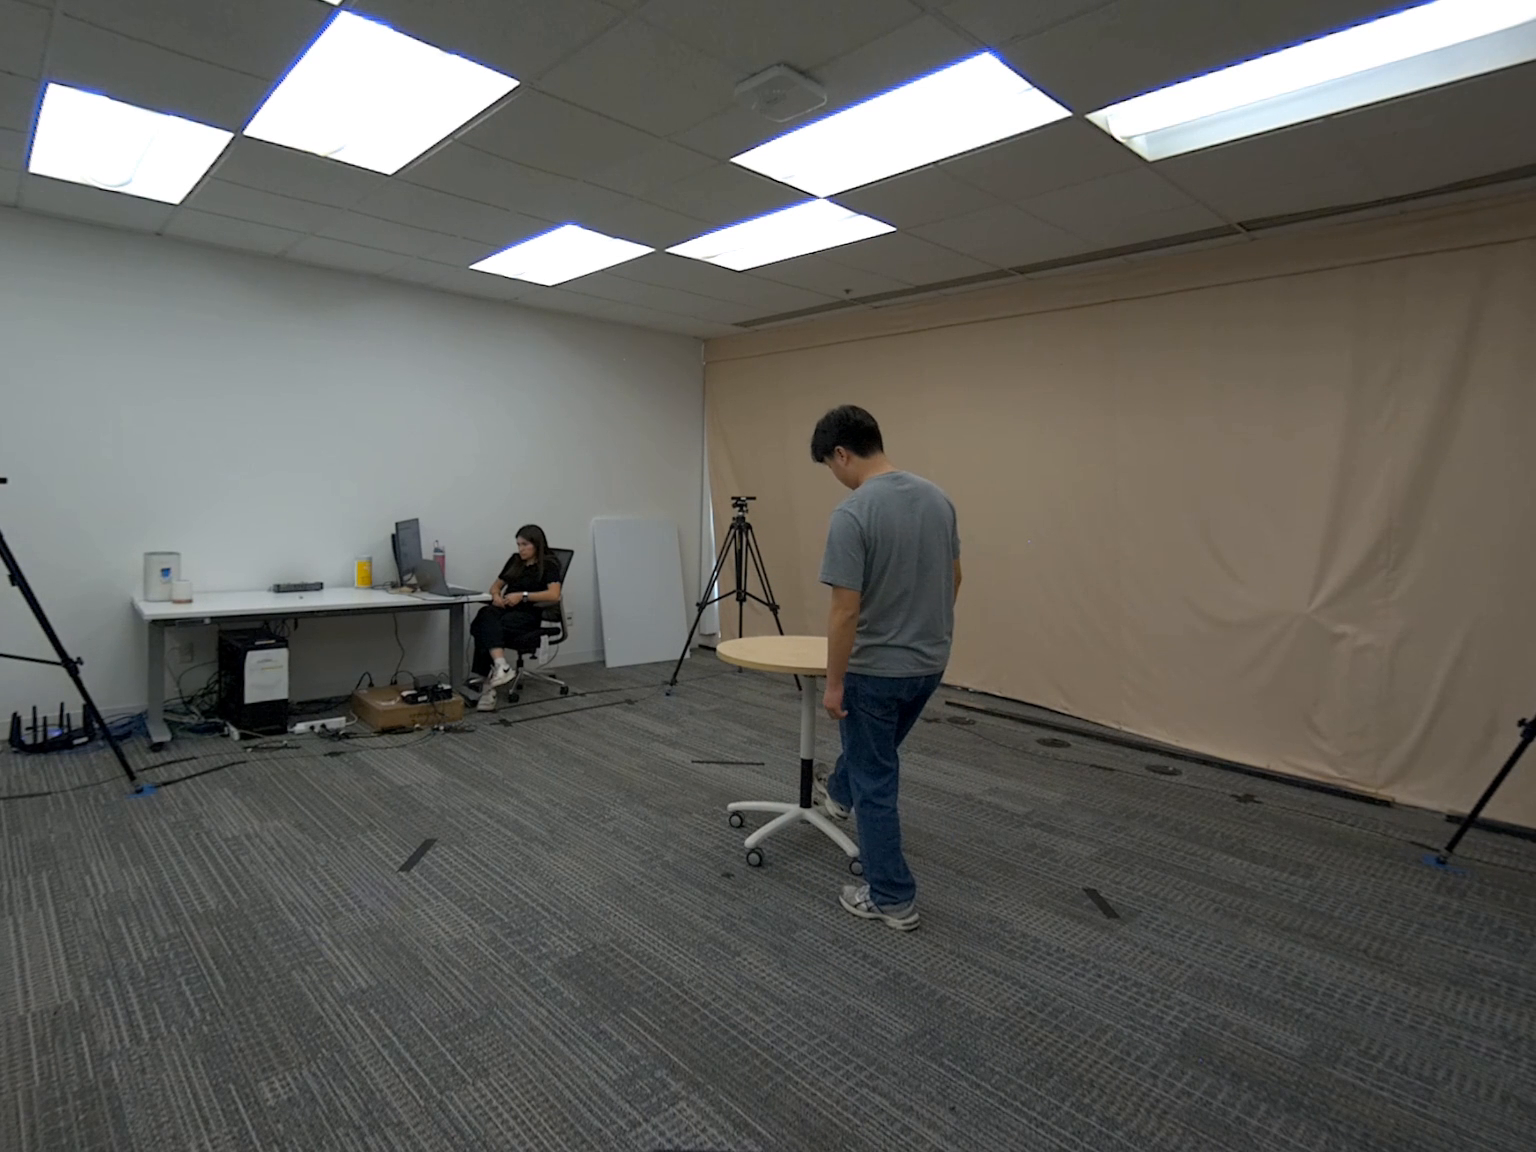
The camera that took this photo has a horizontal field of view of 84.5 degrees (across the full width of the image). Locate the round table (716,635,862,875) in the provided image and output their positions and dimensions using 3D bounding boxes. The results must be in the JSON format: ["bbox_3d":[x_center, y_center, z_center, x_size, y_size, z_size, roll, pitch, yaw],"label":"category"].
[{"bbox_3d":[0.157,0.695,3.421,0.763,0.792,0.766,1,3,-1],"label":"round table"}]
